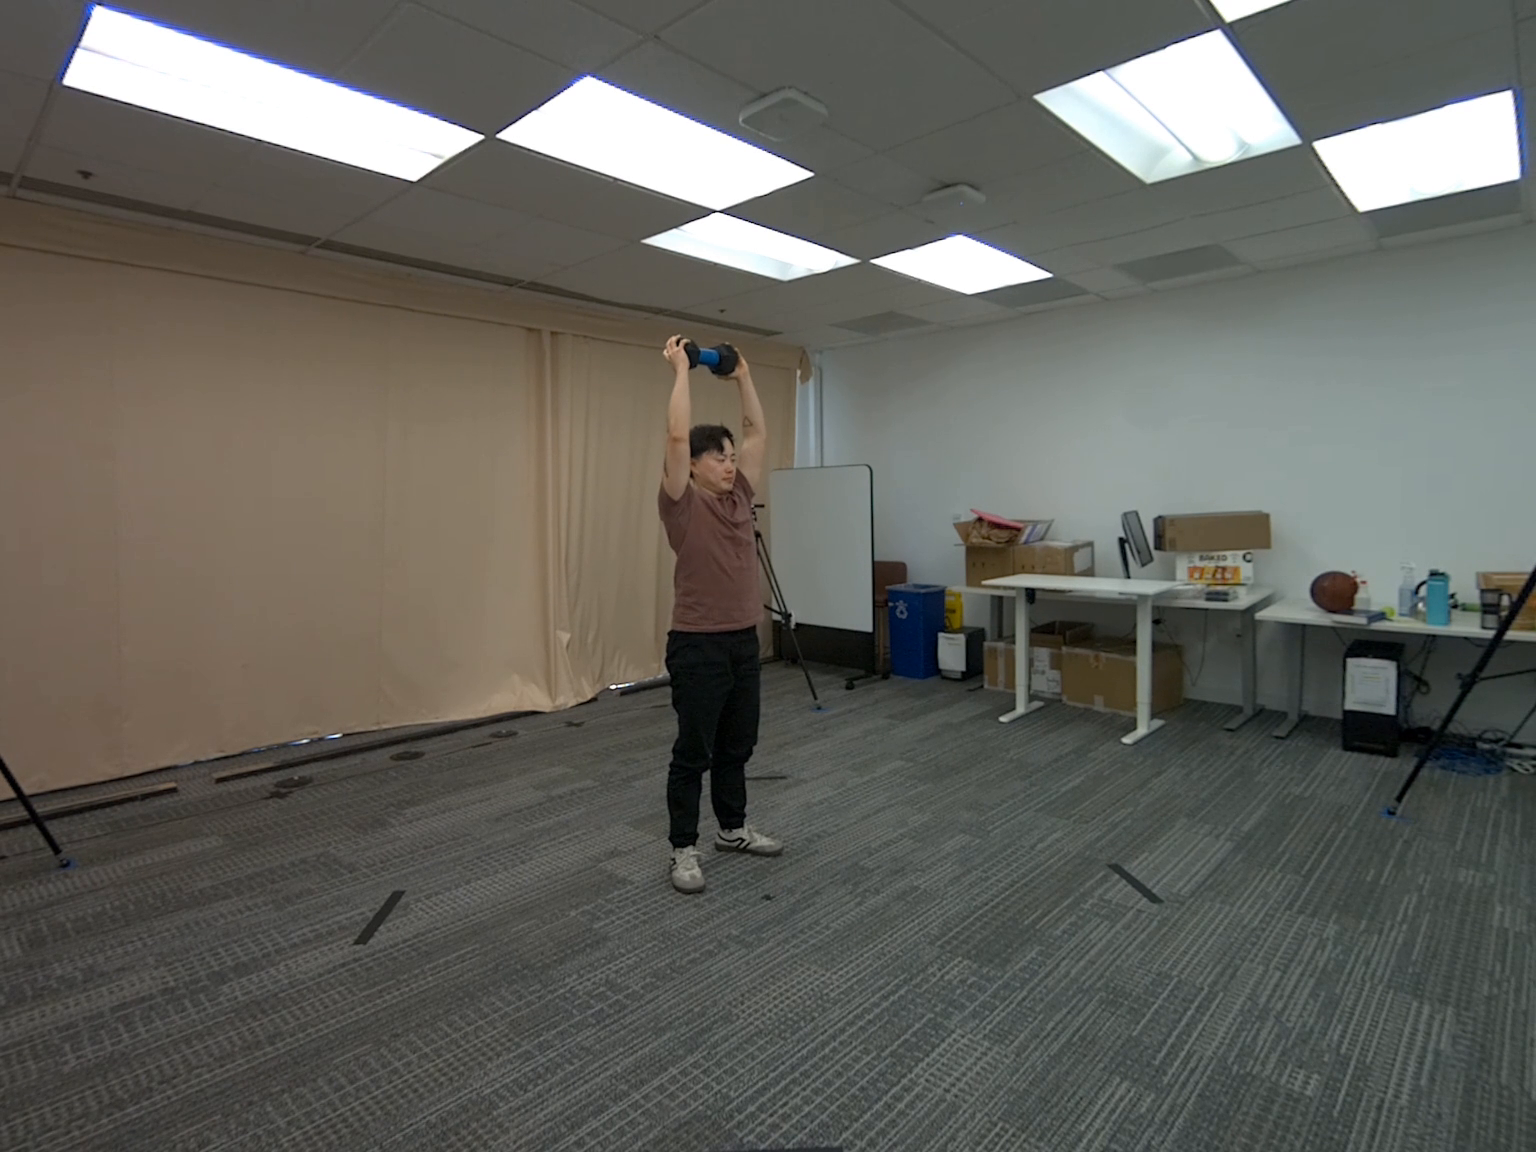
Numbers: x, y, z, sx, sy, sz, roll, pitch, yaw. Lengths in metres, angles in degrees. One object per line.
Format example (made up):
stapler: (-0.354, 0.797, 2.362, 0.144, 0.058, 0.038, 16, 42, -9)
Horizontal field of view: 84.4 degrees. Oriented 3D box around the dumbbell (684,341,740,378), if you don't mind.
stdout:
dumbbell: (-0.237, -0.815, 3.164, 0.285, 0.126, 0.109, -8, -32, -49)
